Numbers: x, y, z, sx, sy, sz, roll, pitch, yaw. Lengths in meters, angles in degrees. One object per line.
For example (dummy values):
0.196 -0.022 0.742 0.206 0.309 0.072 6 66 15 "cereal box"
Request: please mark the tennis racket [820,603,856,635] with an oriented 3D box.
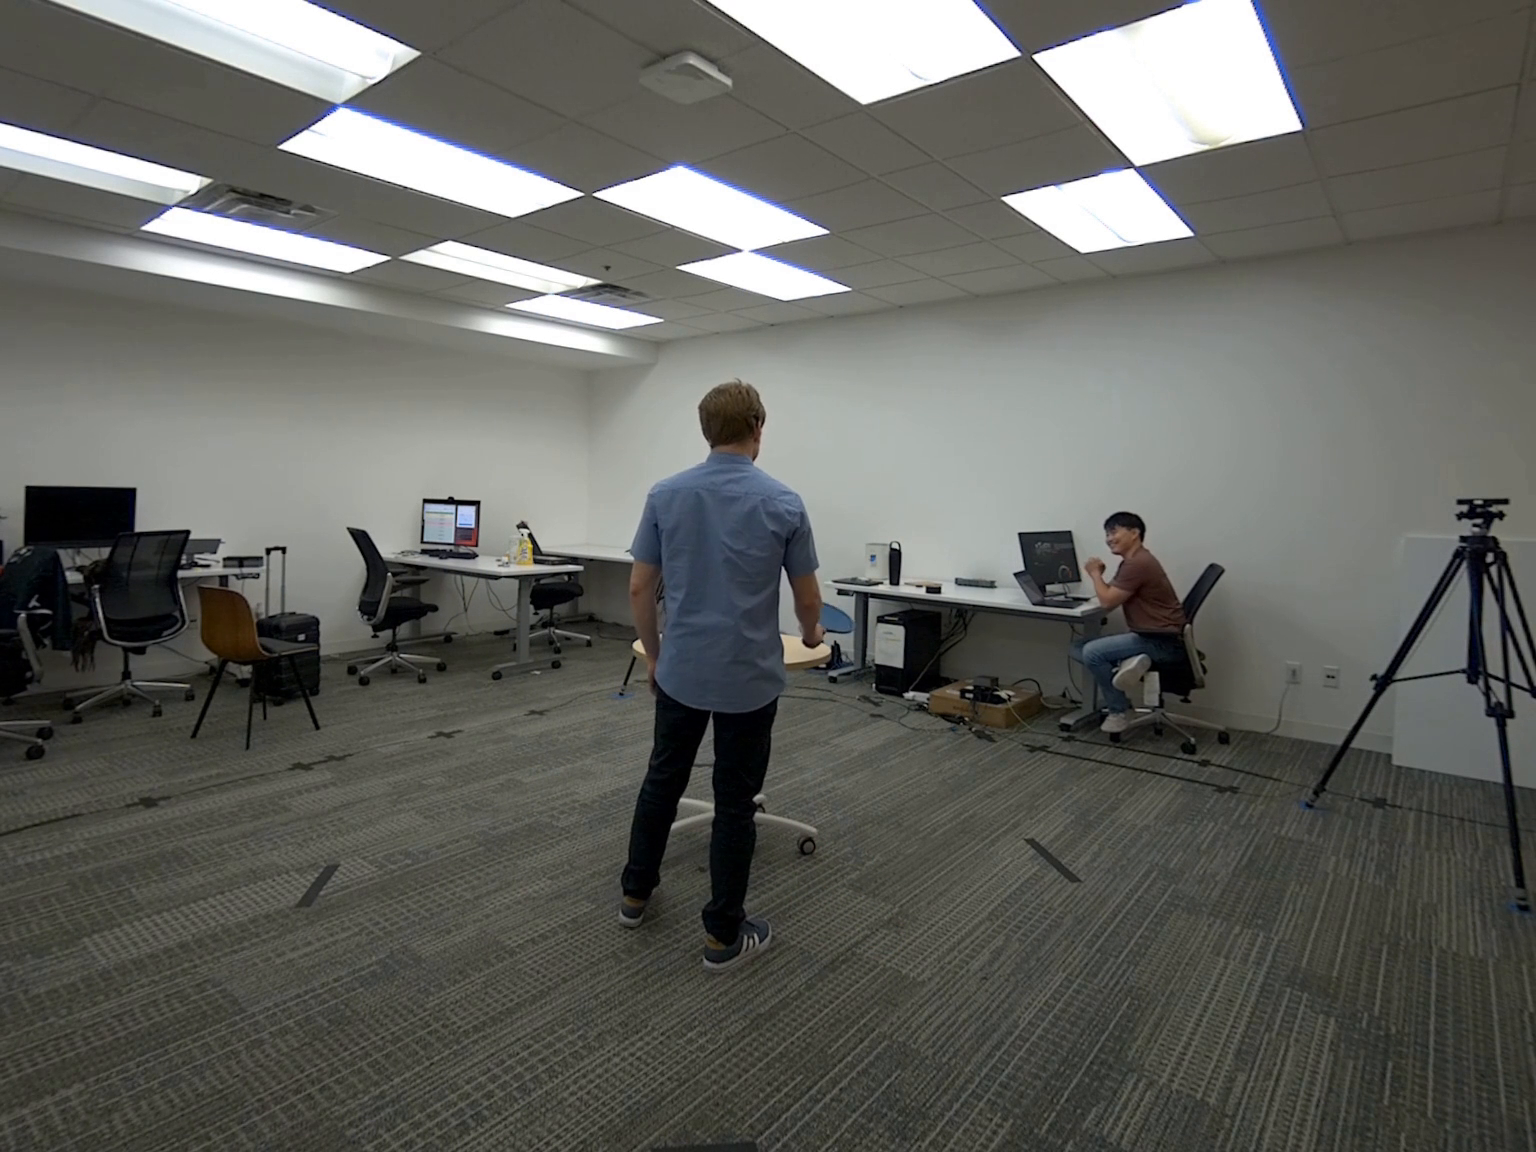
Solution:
0.191 0.155 3.022 0.217 0.031 0.430 23 17 9 "tennis racket"
